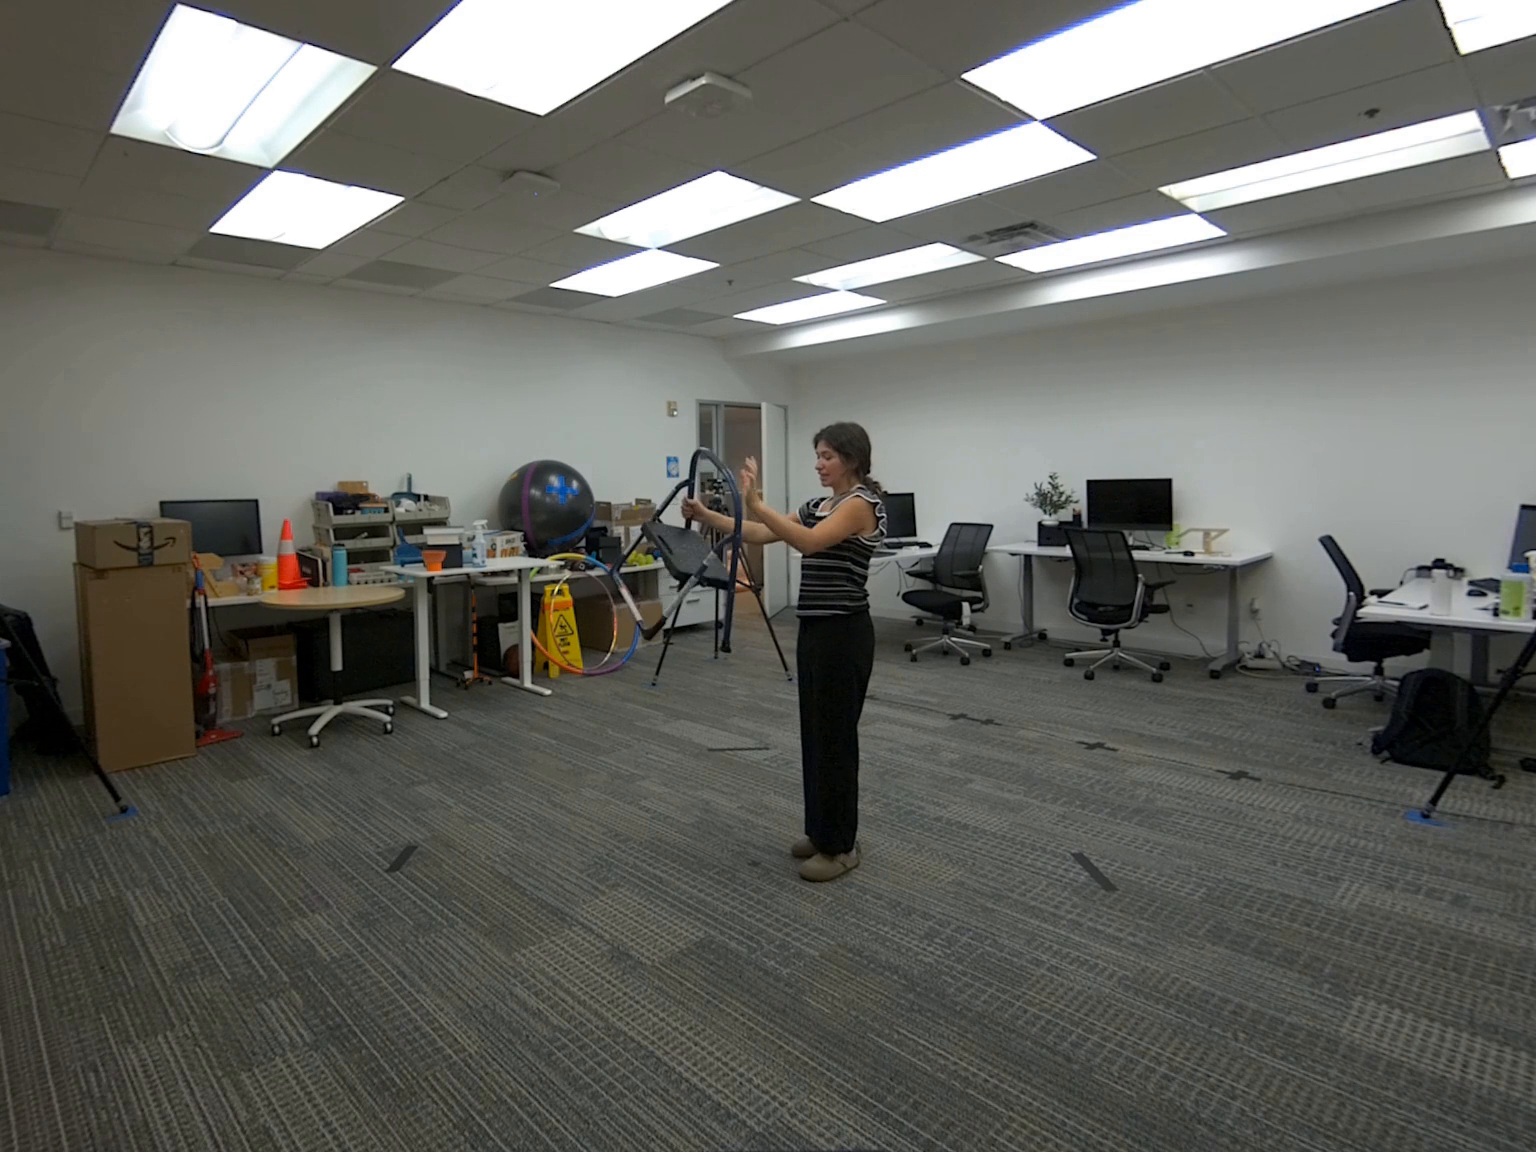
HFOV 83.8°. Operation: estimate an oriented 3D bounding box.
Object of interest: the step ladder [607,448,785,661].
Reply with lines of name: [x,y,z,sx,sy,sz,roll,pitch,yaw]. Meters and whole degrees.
step ladder: [-0.233,-0.122,2.964,0.338,0.601,0.448,11,25,-36]
